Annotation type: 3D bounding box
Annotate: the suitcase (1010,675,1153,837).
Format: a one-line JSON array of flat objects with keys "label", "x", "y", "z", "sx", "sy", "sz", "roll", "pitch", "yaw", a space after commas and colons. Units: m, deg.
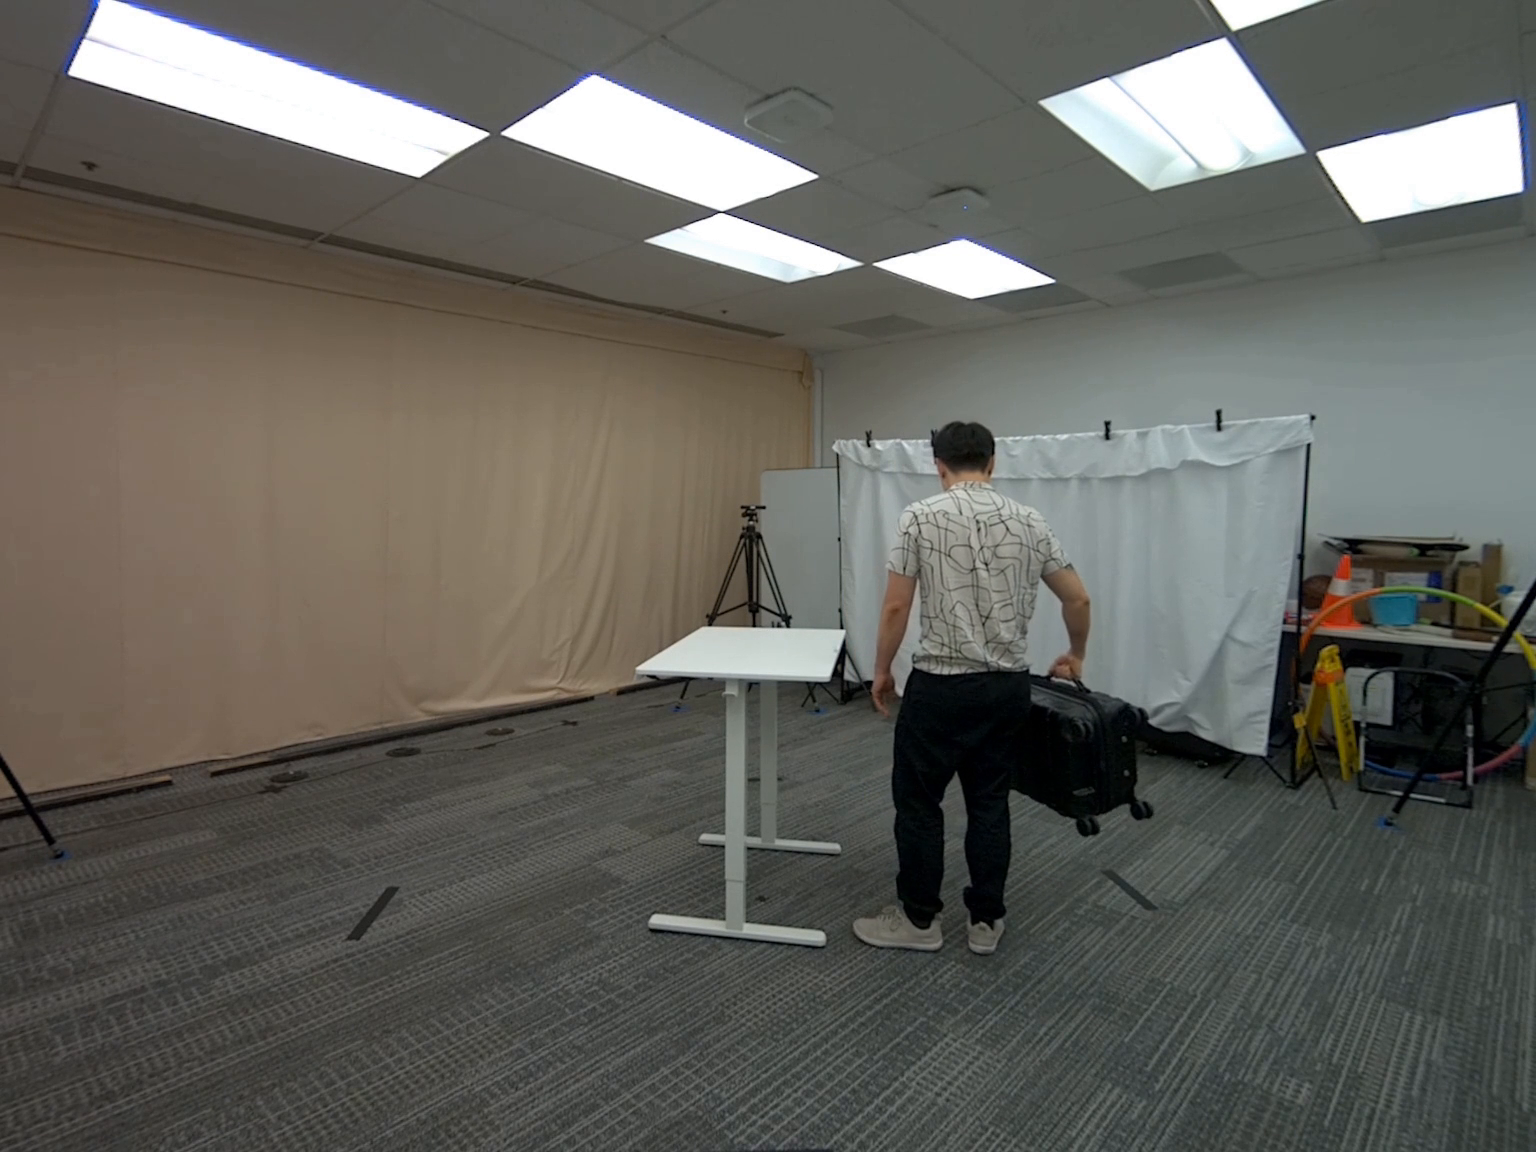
[{"label": "suitcase", "x": 0.942, "y": 0.537, "z": 2.750, "sx": 0.244, "sy": 0.374, "sz": 0.562, "roll": -8, "pitch": 7, "yaw": -21}]
